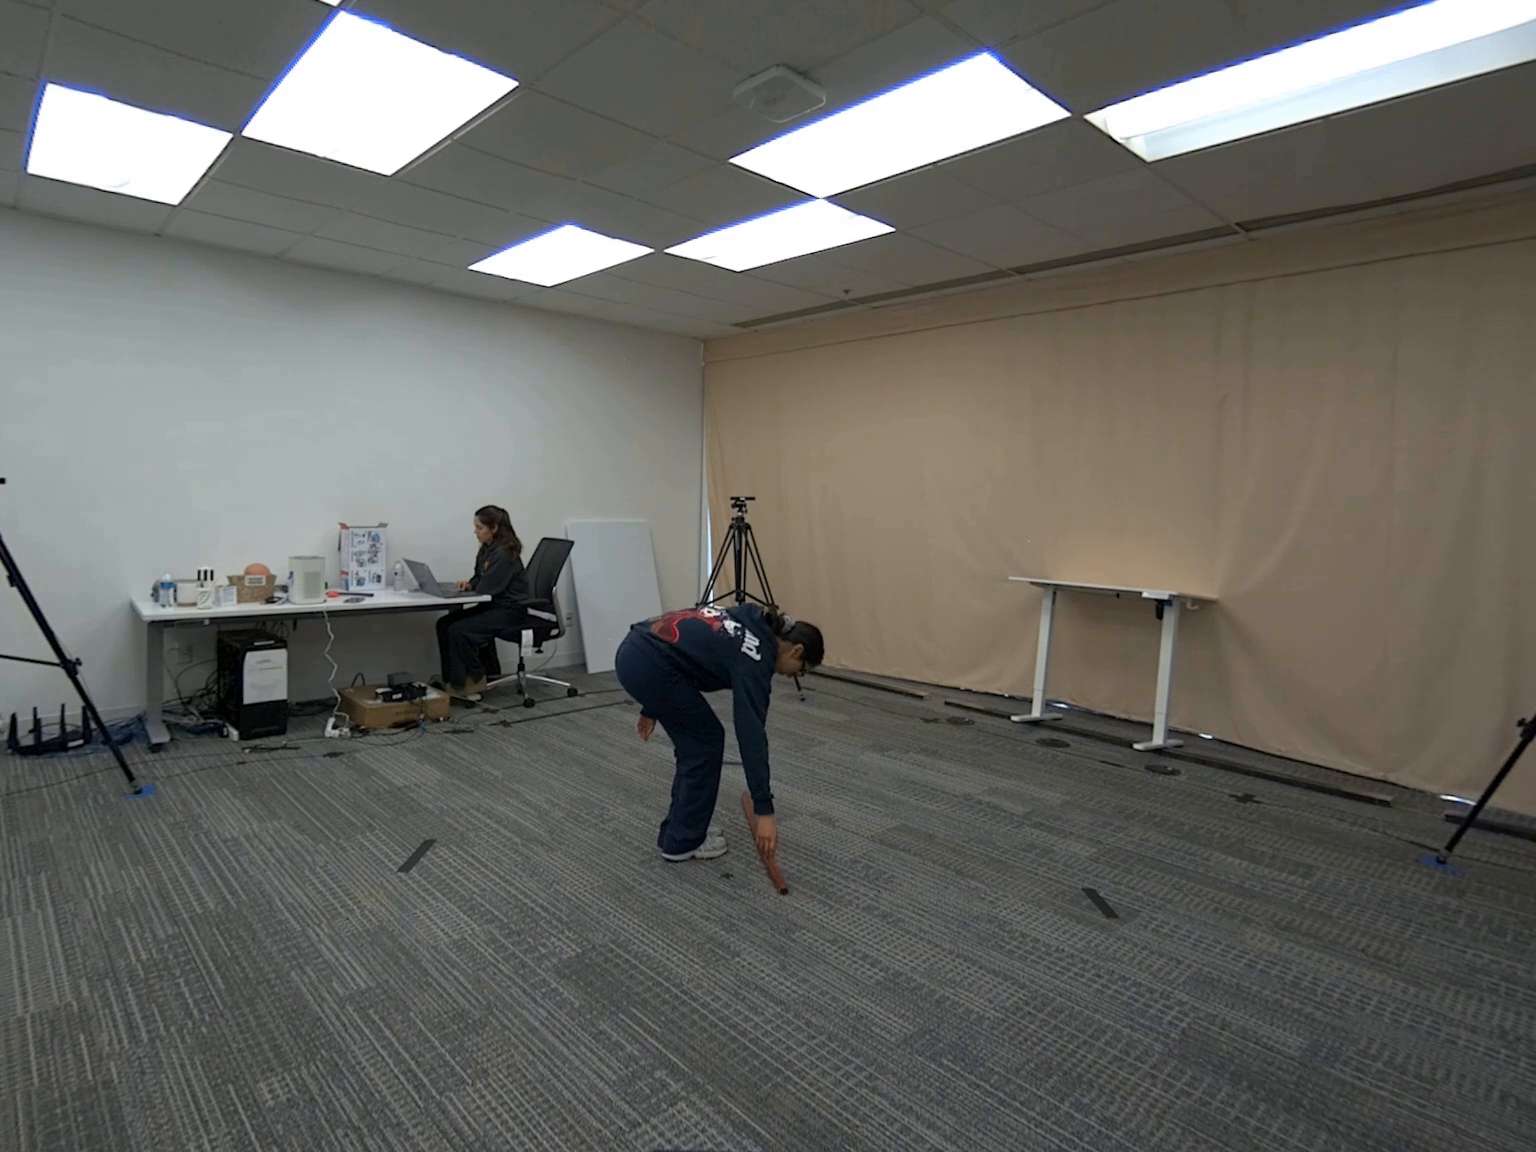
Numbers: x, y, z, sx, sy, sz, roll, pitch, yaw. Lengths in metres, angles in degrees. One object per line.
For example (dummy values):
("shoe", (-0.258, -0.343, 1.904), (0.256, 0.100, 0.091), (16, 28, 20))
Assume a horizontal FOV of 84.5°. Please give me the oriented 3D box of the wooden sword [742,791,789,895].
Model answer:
("wooden sword", (-0.047, 1.049, 3.464), (0.051, 0.024, 1.035), (22, 2, -11))
